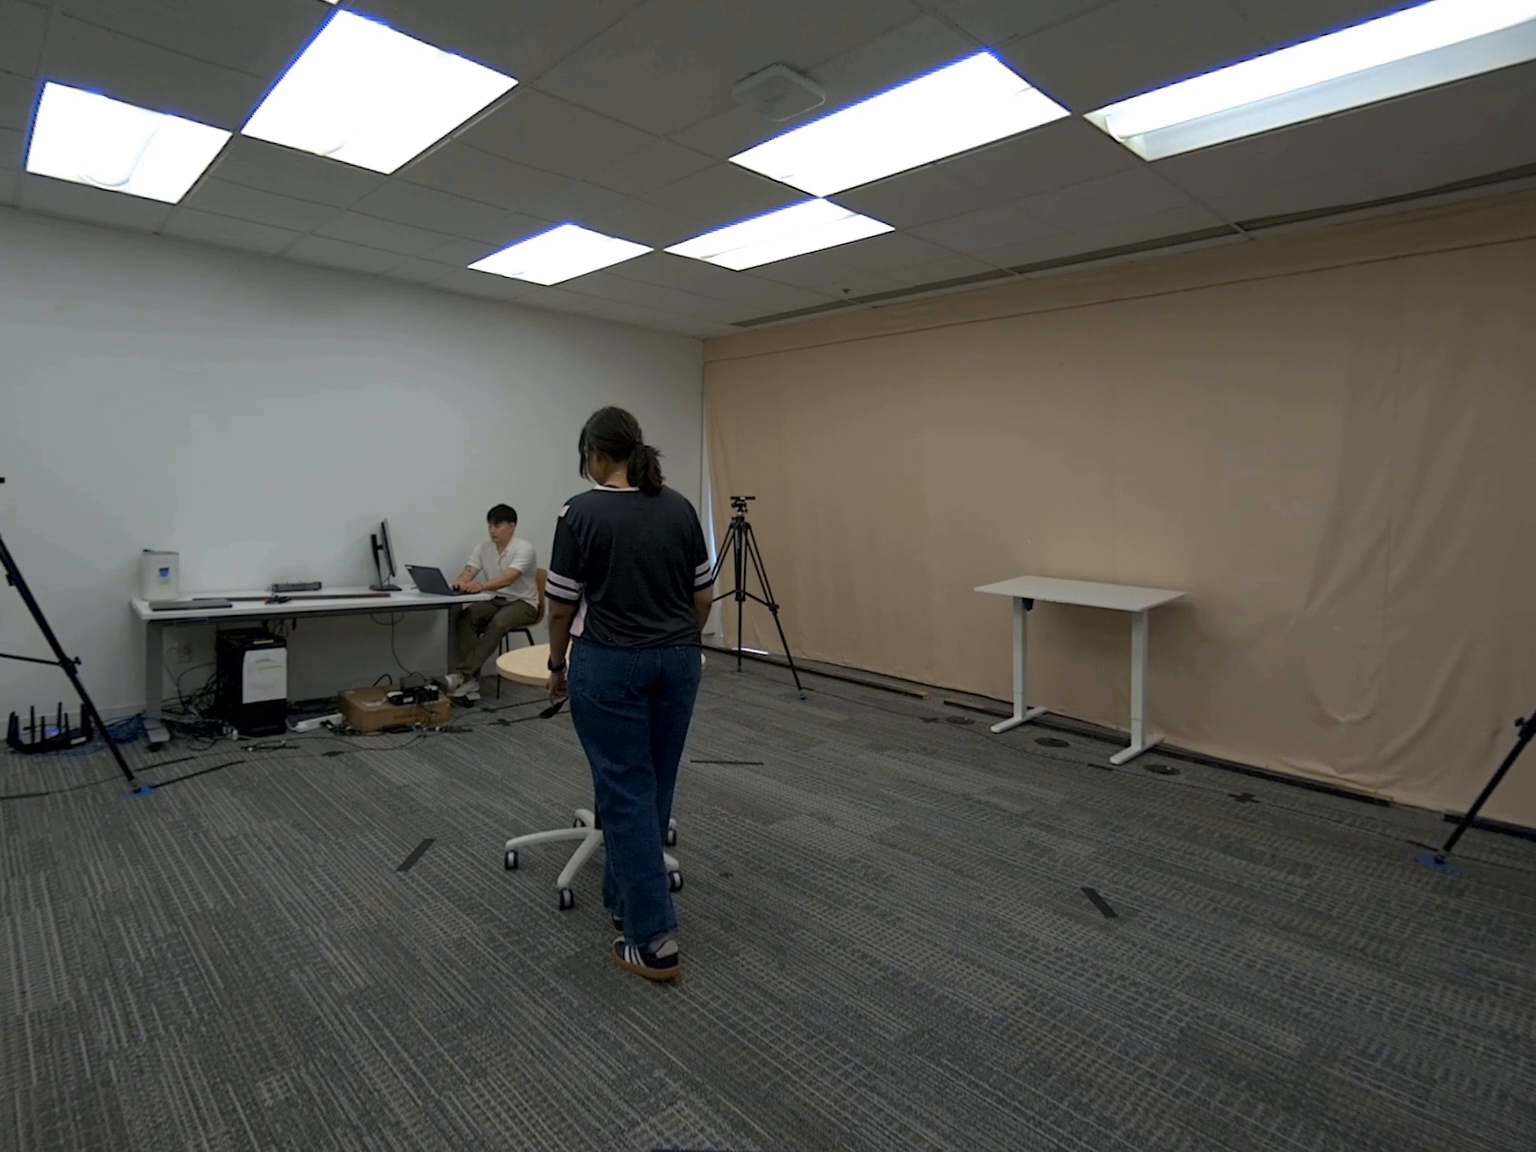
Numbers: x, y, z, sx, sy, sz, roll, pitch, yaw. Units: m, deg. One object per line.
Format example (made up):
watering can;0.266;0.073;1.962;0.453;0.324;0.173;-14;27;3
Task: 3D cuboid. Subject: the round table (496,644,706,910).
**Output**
round table;-0.623;0.702;3.153;0.763;0.792;0.767;1;4;-1
